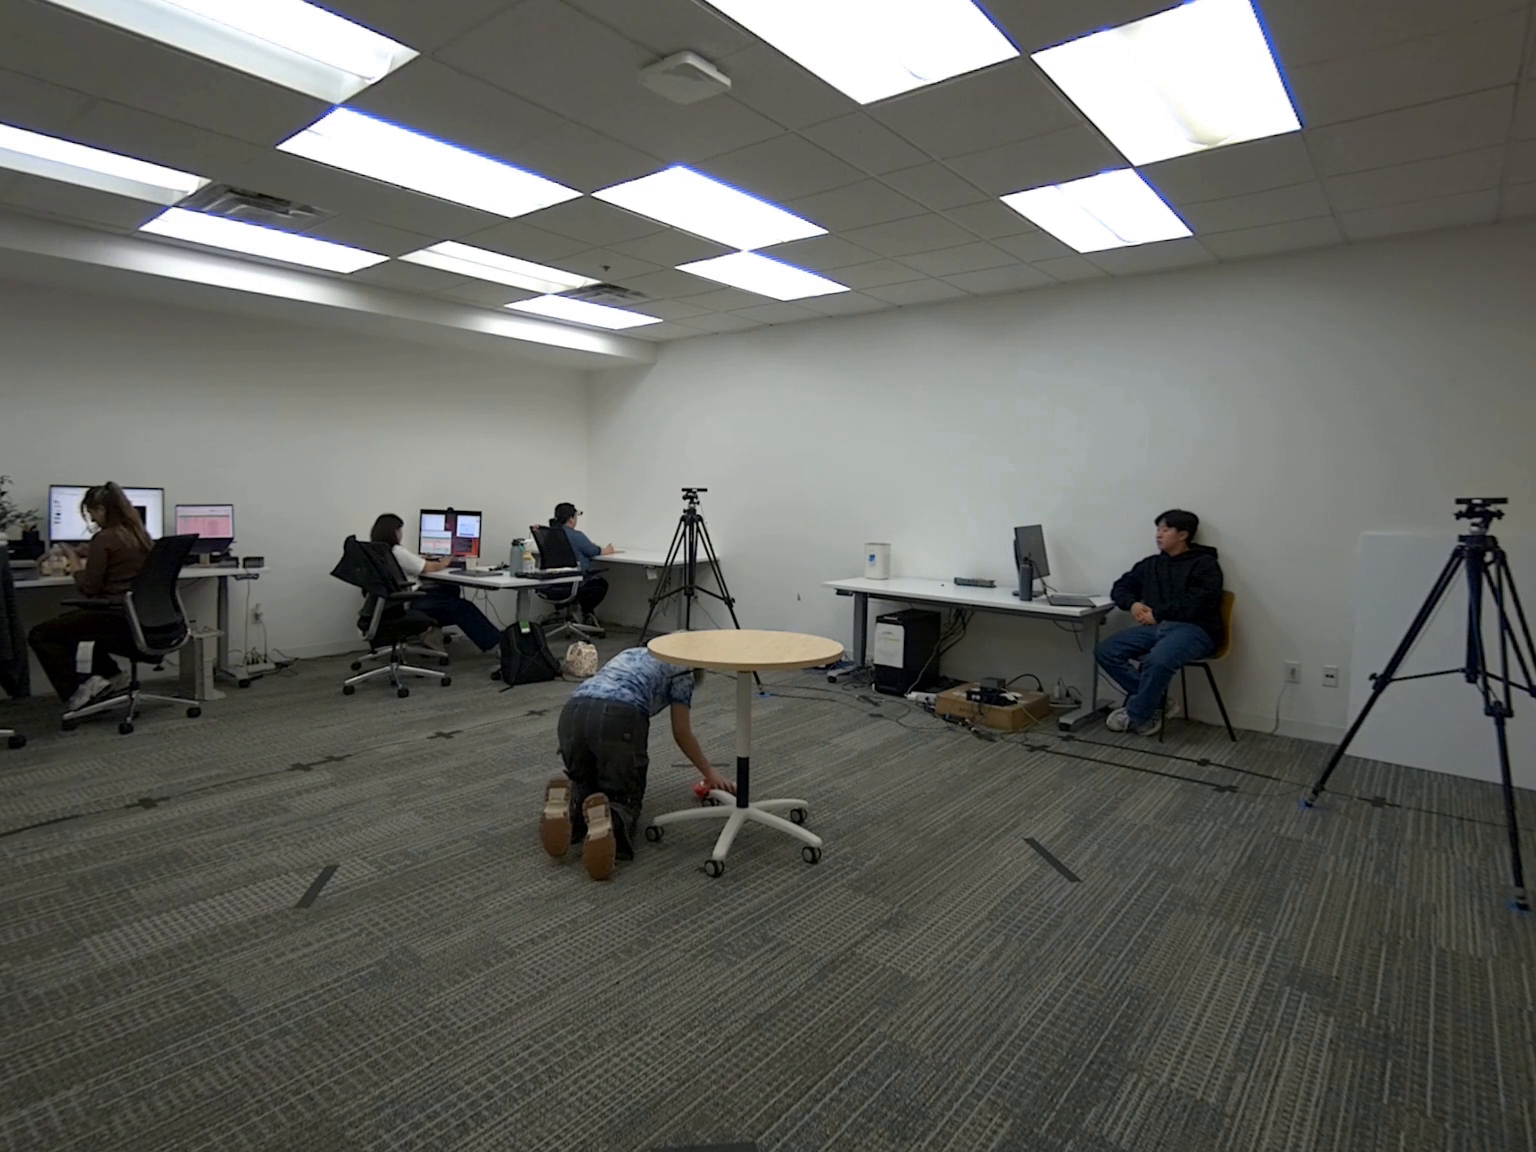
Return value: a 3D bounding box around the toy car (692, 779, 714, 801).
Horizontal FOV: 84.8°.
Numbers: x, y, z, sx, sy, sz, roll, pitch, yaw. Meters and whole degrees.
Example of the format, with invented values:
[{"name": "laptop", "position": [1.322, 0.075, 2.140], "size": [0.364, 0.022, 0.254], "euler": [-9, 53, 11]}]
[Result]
[{"name": "toy car", "position": [-0.236, 0.971, 3.843], "size": [0.251, 0.083, 0.132], "euler": [11, 3, -10]}]
